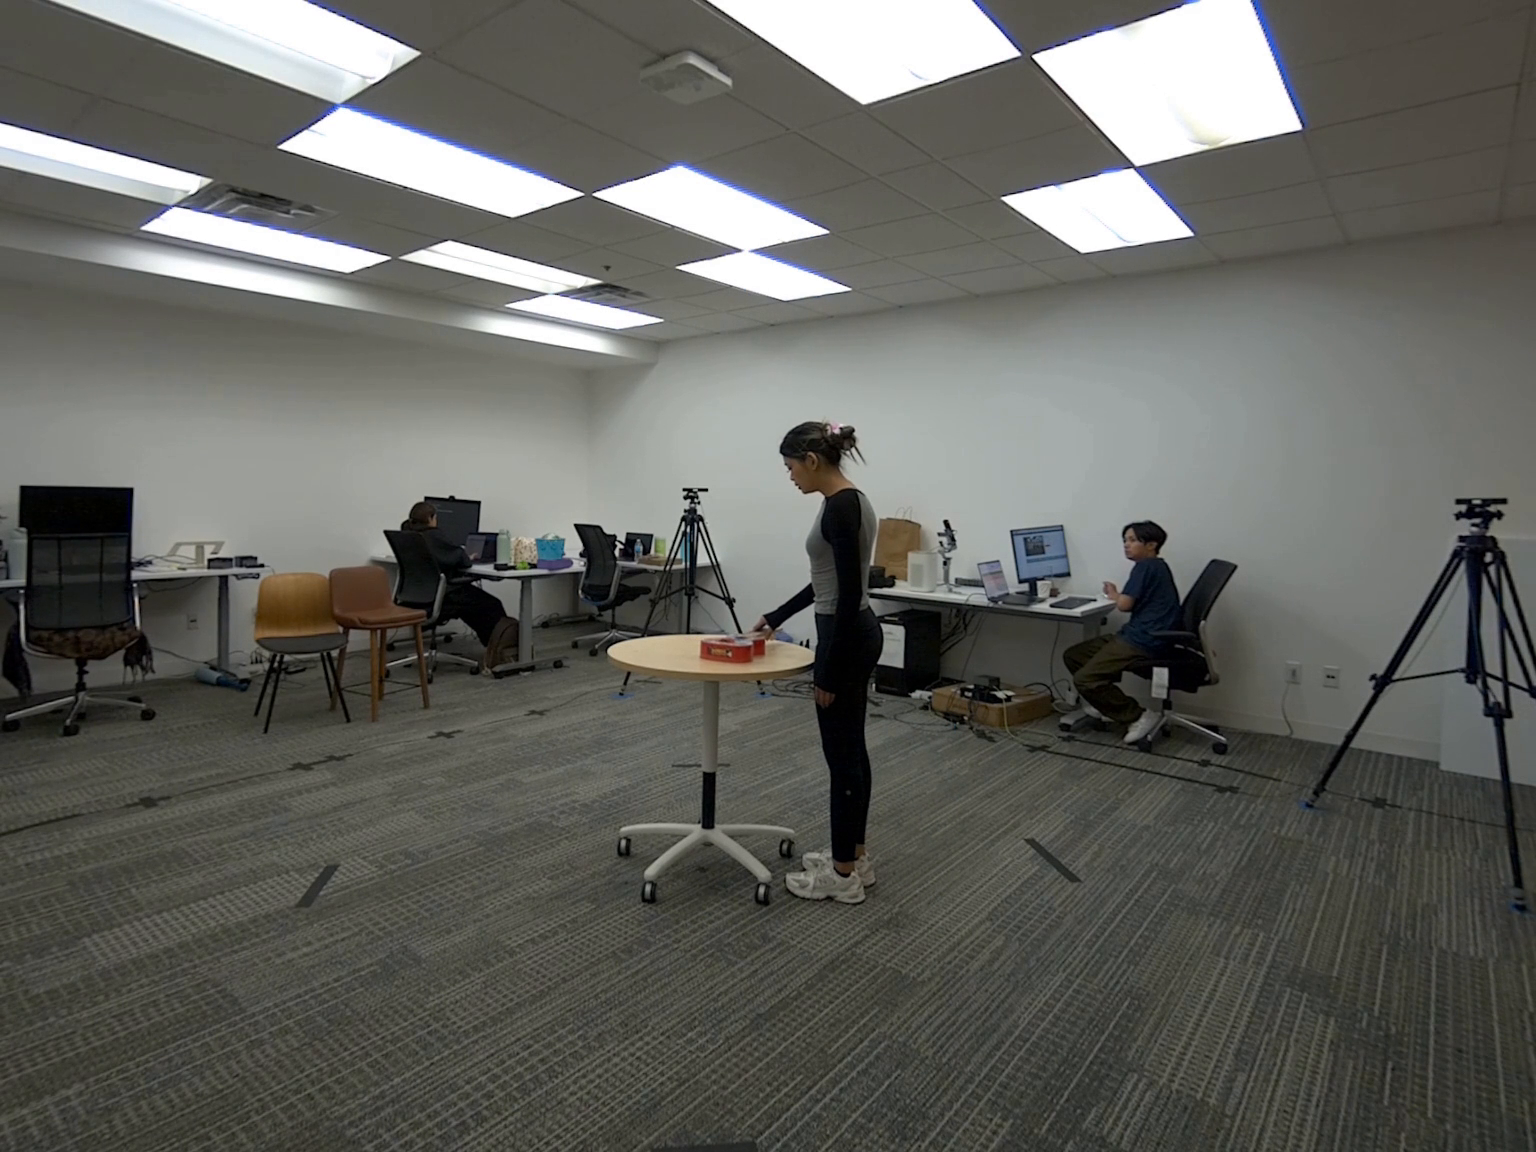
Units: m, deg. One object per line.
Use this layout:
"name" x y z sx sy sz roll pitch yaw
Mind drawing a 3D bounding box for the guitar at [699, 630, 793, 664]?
"guitar" -0.053 0.245 3.139 0.199 0.070 0.484 5 6 34
